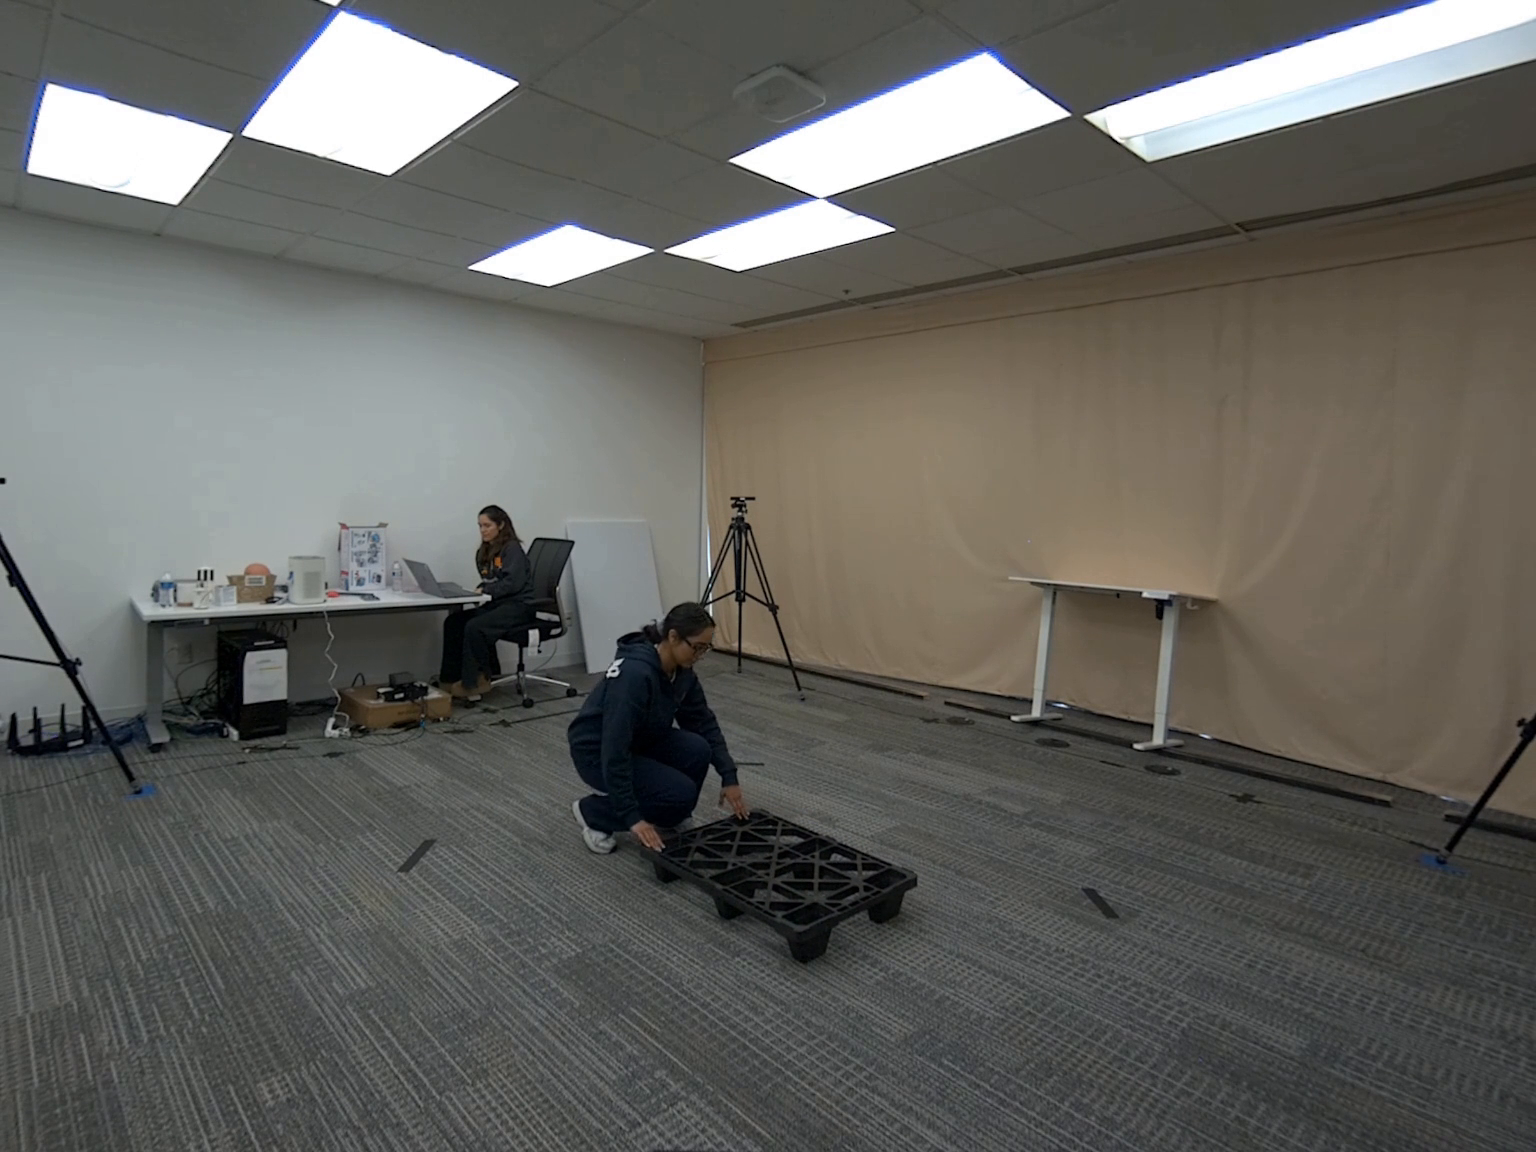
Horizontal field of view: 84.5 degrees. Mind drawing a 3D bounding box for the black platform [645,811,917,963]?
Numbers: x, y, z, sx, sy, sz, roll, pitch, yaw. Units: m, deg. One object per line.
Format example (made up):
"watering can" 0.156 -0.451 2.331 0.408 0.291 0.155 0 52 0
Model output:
"black platform" 0.016 1.057 2.952 0.591 0.143 0.826 -3 7 -43
